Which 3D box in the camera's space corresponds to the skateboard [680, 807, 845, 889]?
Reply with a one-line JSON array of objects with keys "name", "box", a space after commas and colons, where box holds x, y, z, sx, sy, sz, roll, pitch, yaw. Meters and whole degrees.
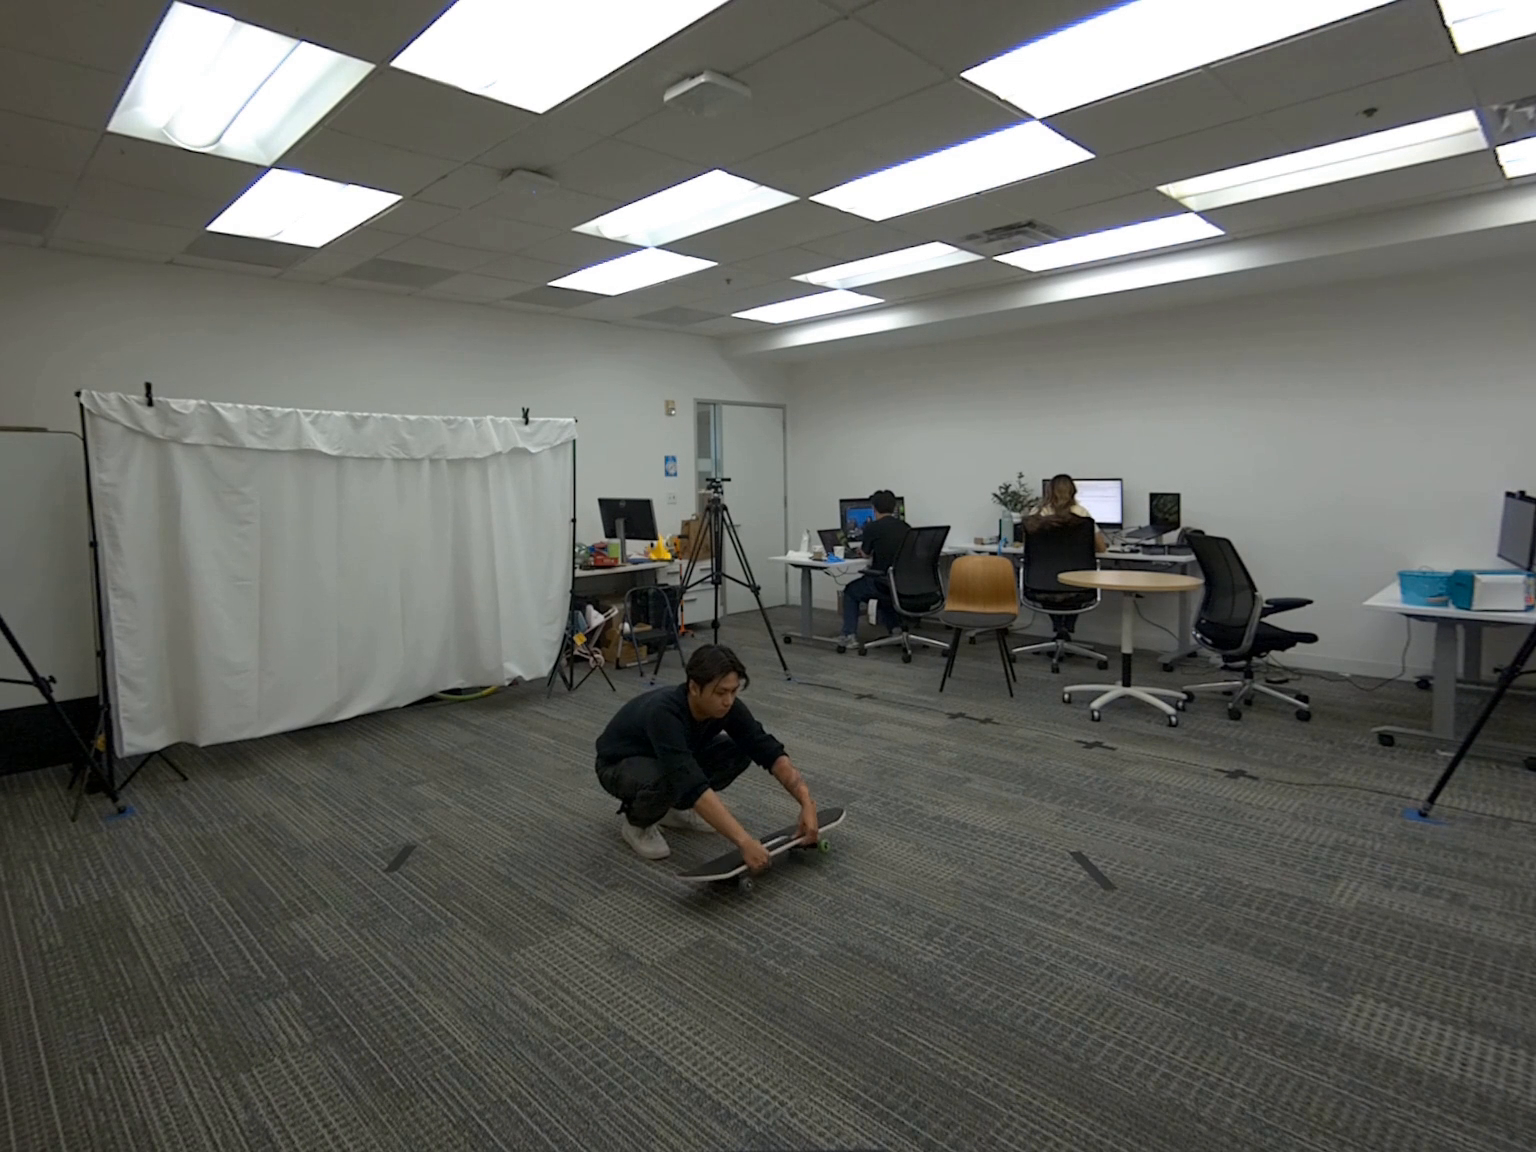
[{"name": "skateboard", "box": [0.010, 0.970, 2.994, 0.765, 0.111, 0.197, -8, -6, -45]}]
